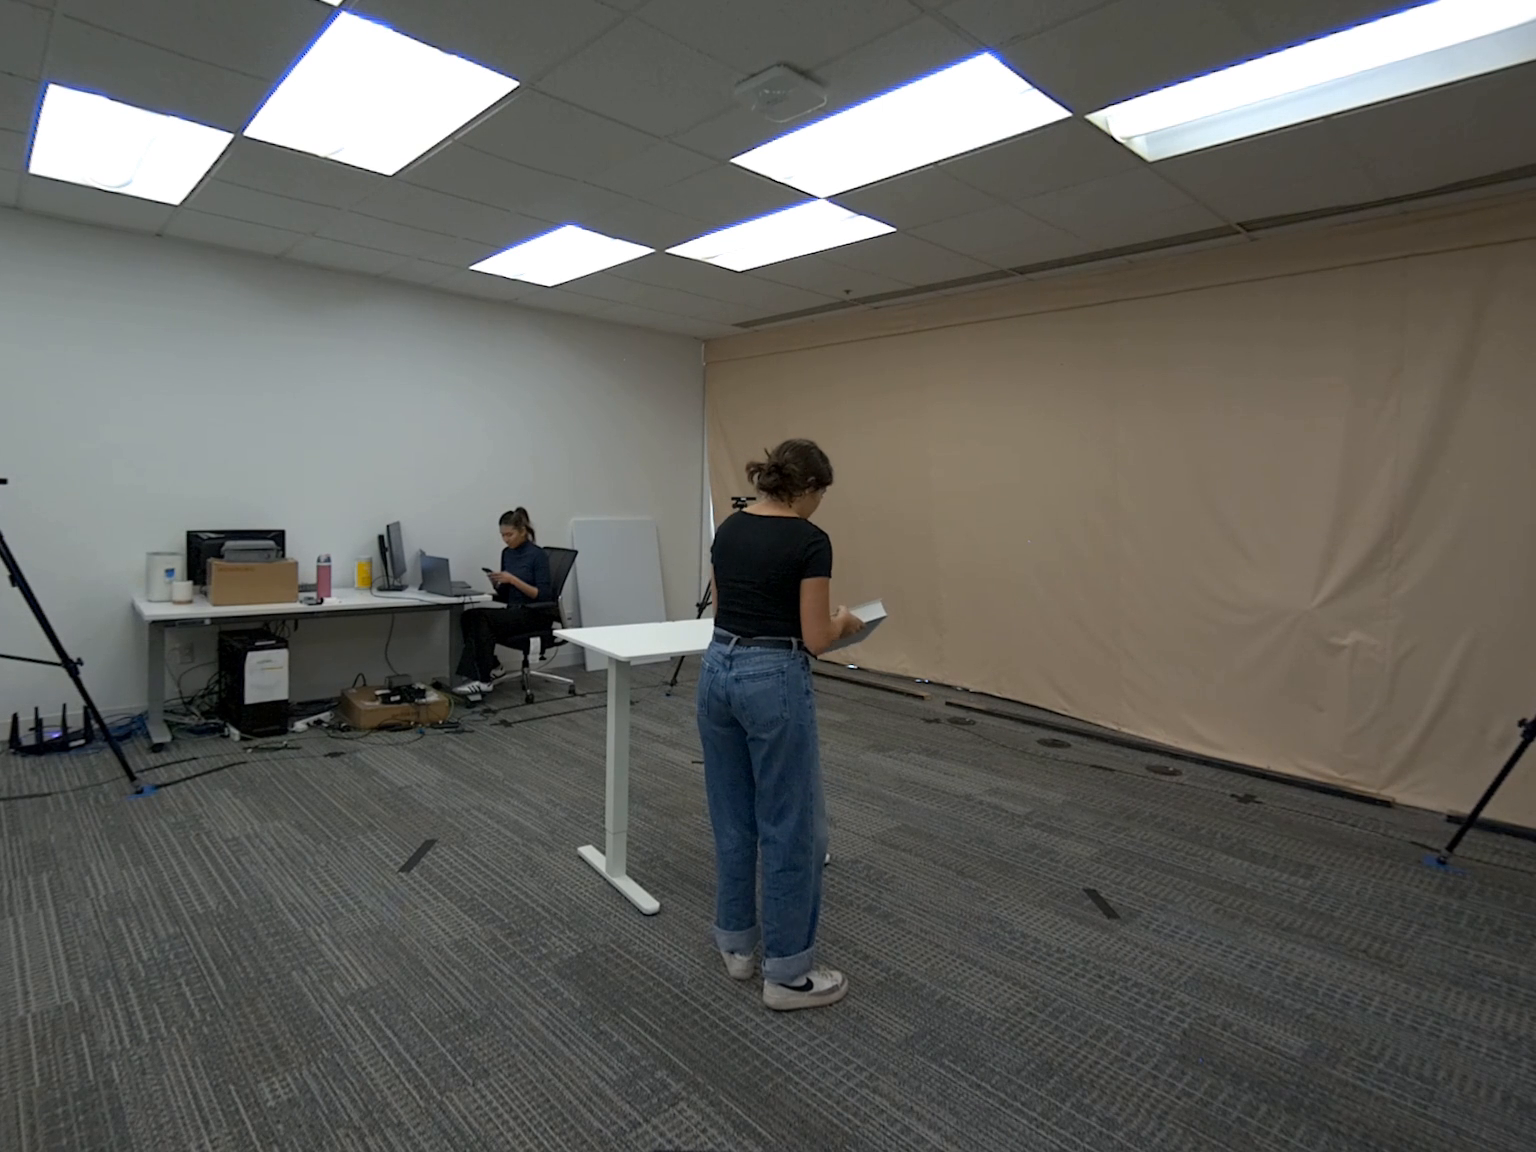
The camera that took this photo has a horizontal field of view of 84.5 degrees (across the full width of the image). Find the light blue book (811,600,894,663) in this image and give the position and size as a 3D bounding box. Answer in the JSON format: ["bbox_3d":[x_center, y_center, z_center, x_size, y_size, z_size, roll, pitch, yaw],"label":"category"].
[{"bbox_3d":[0.232,0.177,2.651,0.257,0.060,0.190,-14,-24,-31],"label":"light blue book"}]
